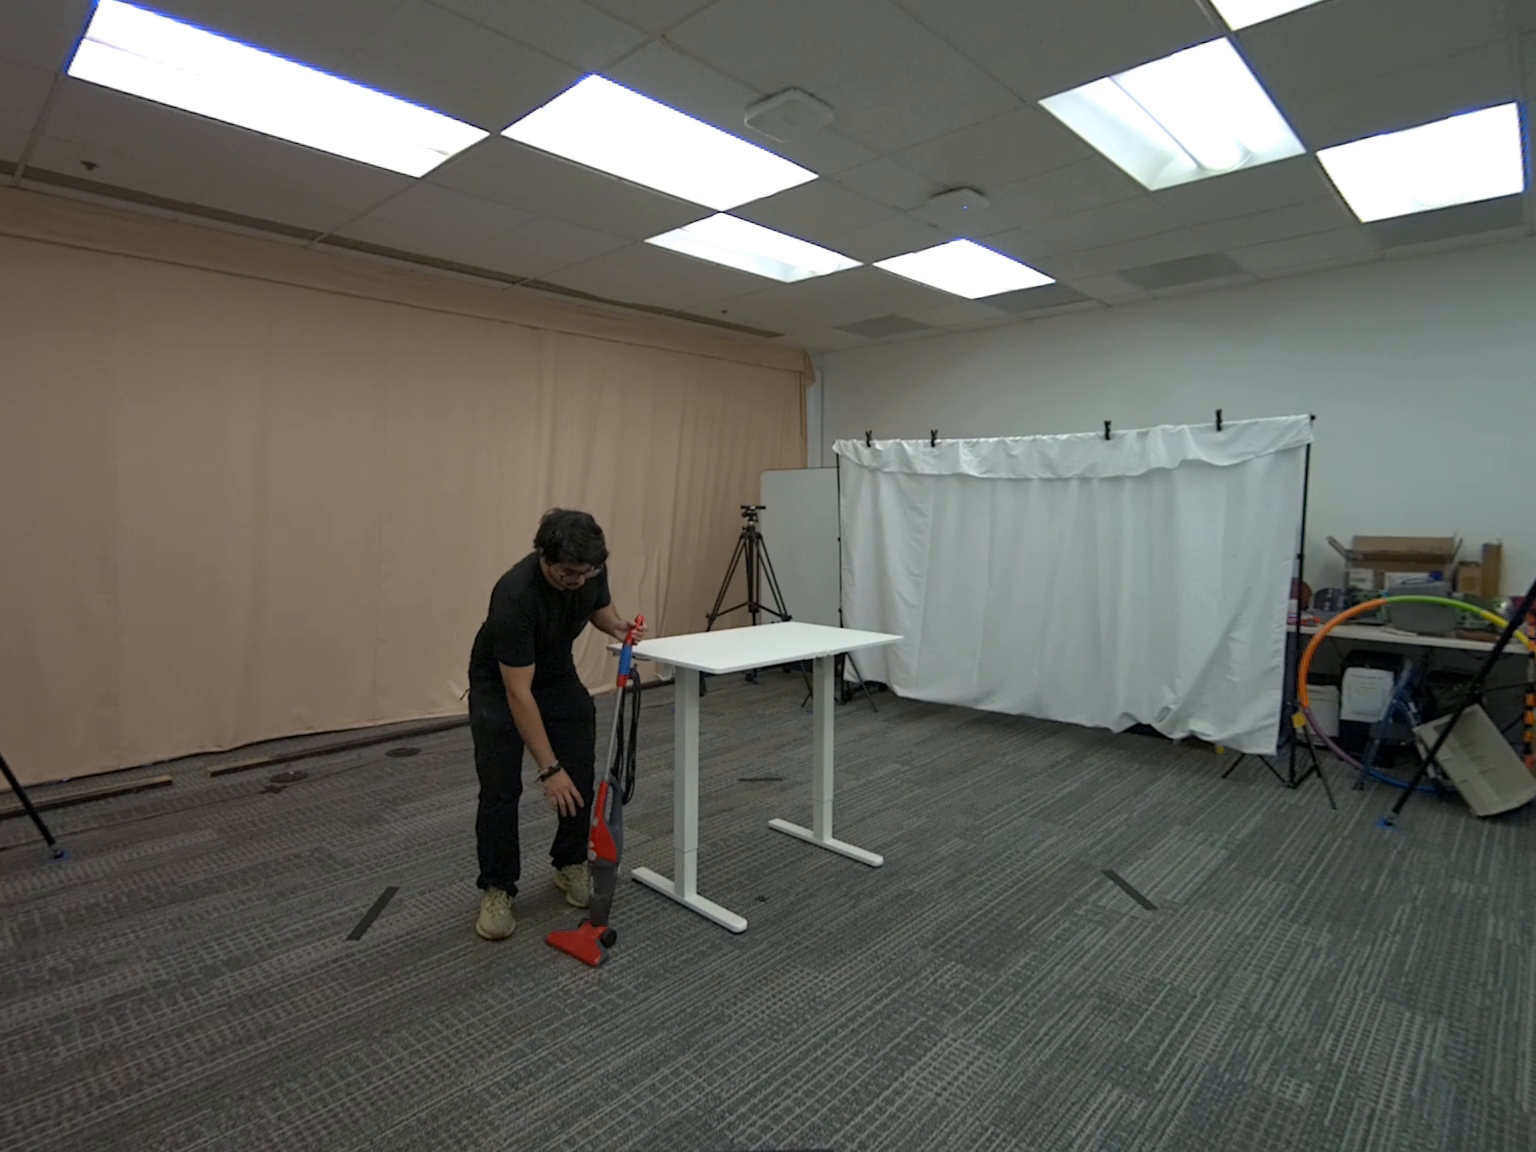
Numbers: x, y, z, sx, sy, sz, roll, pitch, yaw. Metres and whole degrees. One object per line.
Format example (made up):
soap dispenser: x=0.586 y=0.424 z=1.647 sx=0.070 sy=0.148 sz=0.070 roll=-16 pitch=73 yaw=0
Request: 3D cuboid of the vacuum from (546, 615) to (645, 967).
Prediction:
vacuum: x=-0.492 y=0.662 z=2.739 sx=0.261 sy=1.053 sz=0.139 roll=2 pitch=-11 yaw=38
